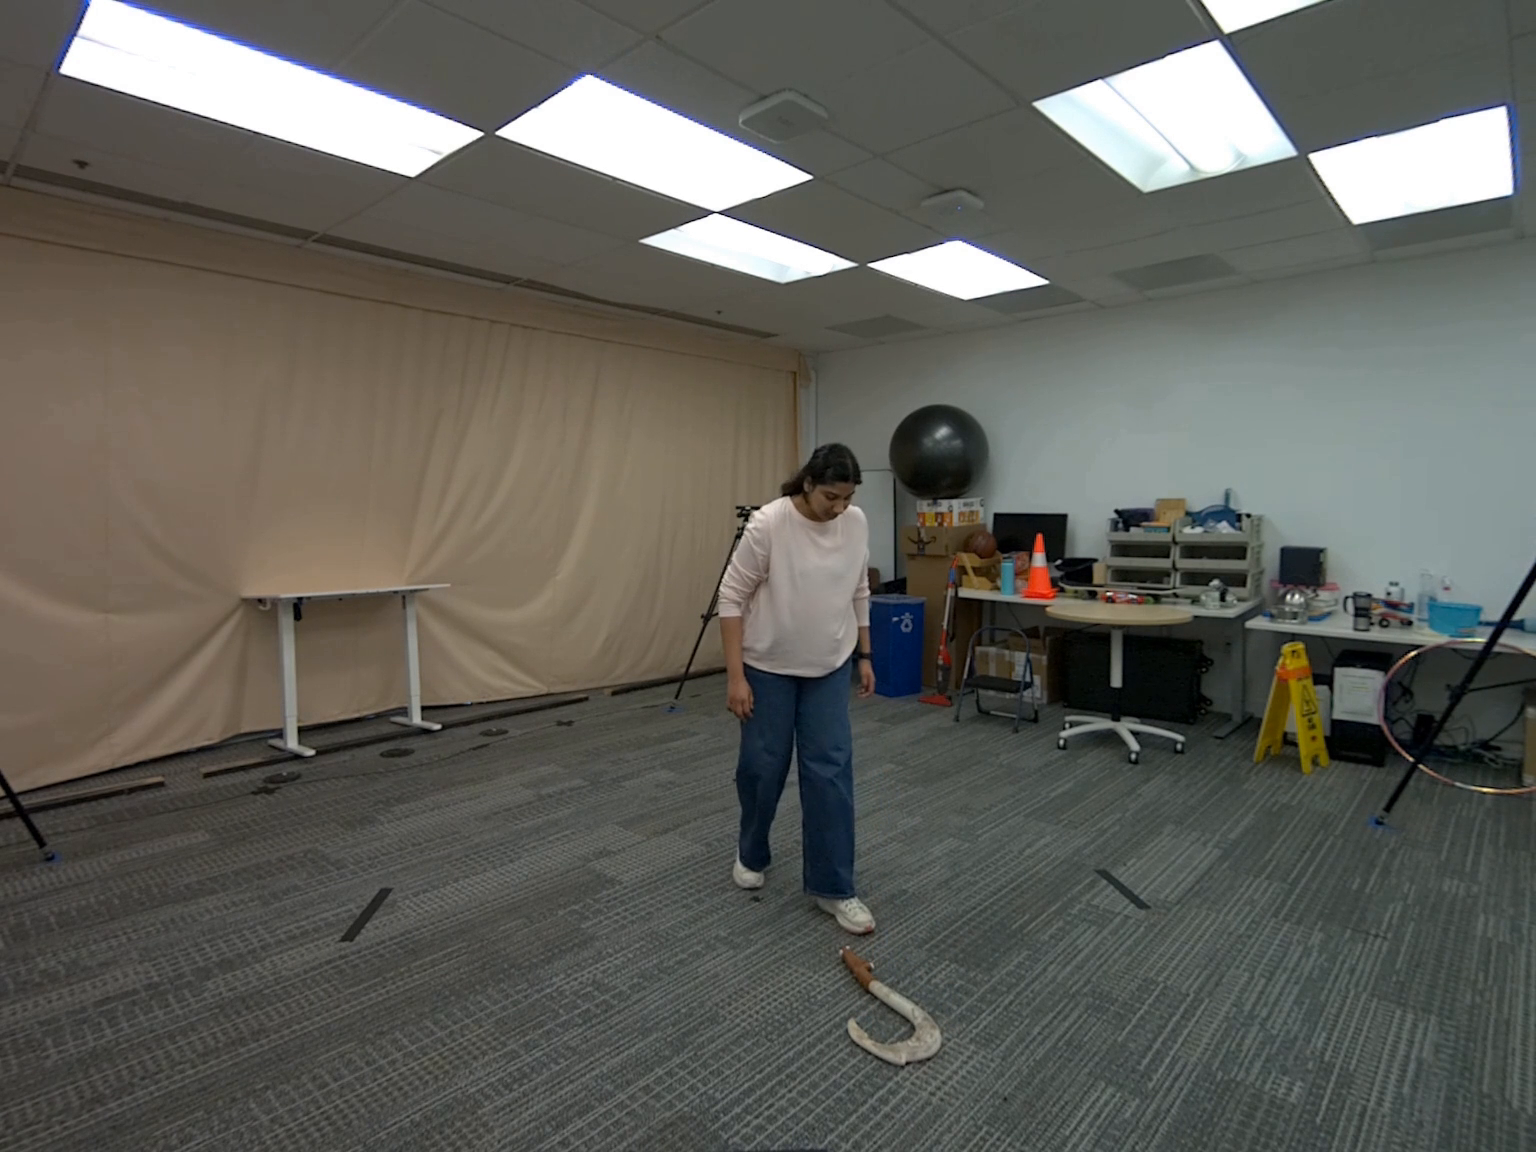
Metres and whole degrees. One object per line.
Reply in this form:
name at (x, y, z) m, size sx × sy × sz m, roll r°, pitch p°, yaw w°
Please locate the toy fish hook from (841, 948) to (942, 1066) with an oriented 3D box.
toy fish hook at (0.279, 1.173, 2.333) m, size 0.220 × 0.048 × 0.518 m, roll -2°, pitch 5°, yaw -21°
